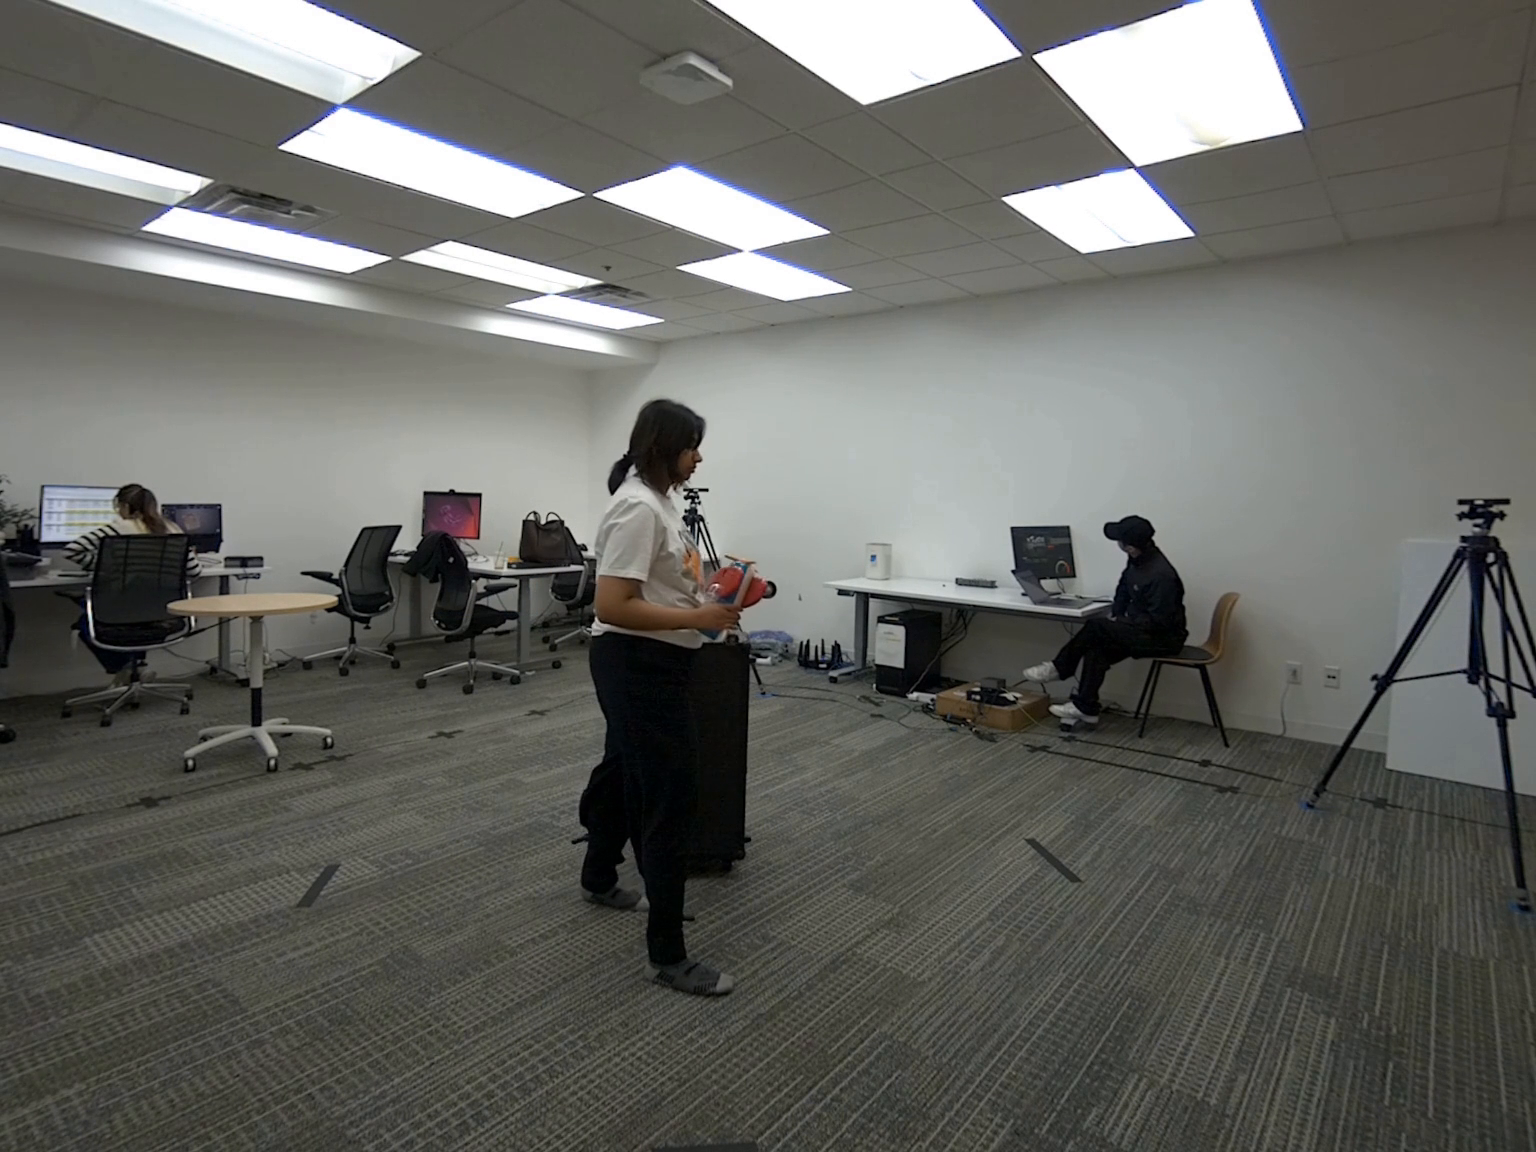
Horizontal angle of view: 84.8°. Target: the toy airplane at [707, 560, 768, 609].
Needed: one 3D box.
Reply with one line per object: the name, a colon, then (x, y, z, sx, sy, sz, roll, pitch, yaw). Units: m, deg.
toy airplane: (-0.104, 0.075, 2.489, 0.153, 0.262, 0.253, 40, -43, -15)
